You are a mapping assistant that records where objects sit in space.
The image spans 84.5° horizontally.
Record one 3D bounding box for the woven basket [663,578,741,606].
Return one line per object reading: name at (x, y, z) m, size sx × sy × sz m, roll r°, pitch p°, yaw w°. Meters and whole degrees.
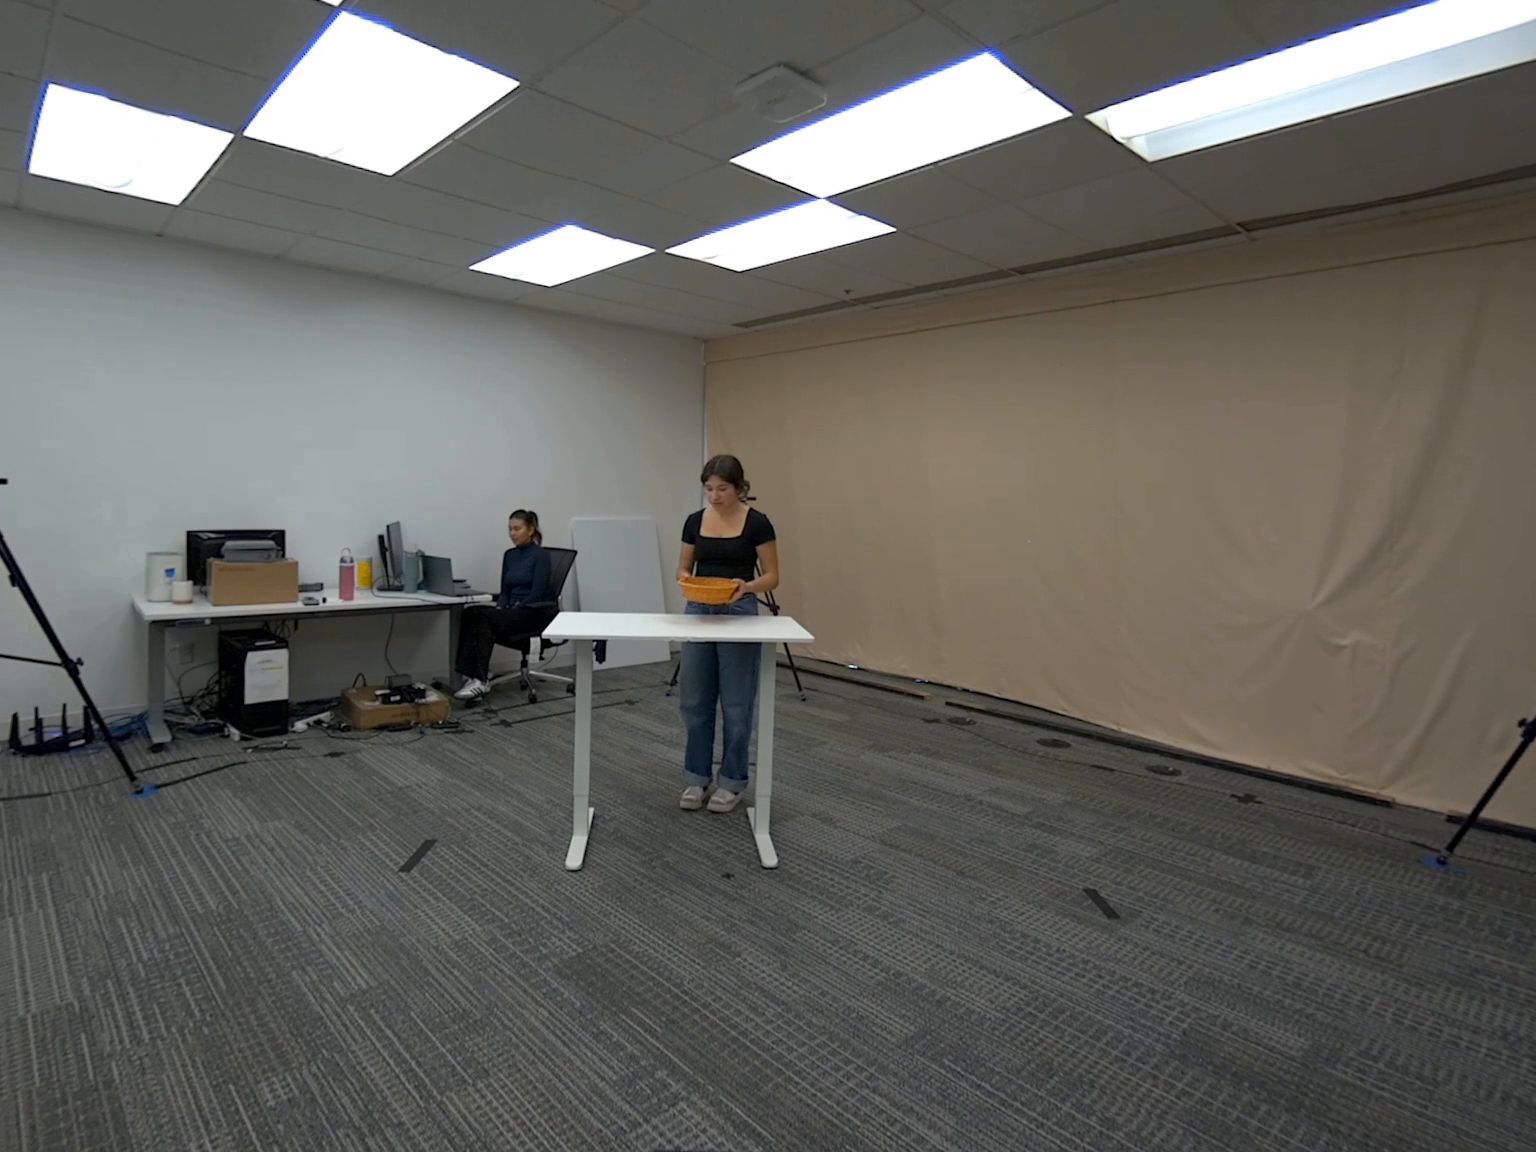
woven basket at (-0.237, 0.070, 3.517) m, size 0.257 × 0.073 × 0.344 m, roll 6°, pitch 6°, yaw 25°
